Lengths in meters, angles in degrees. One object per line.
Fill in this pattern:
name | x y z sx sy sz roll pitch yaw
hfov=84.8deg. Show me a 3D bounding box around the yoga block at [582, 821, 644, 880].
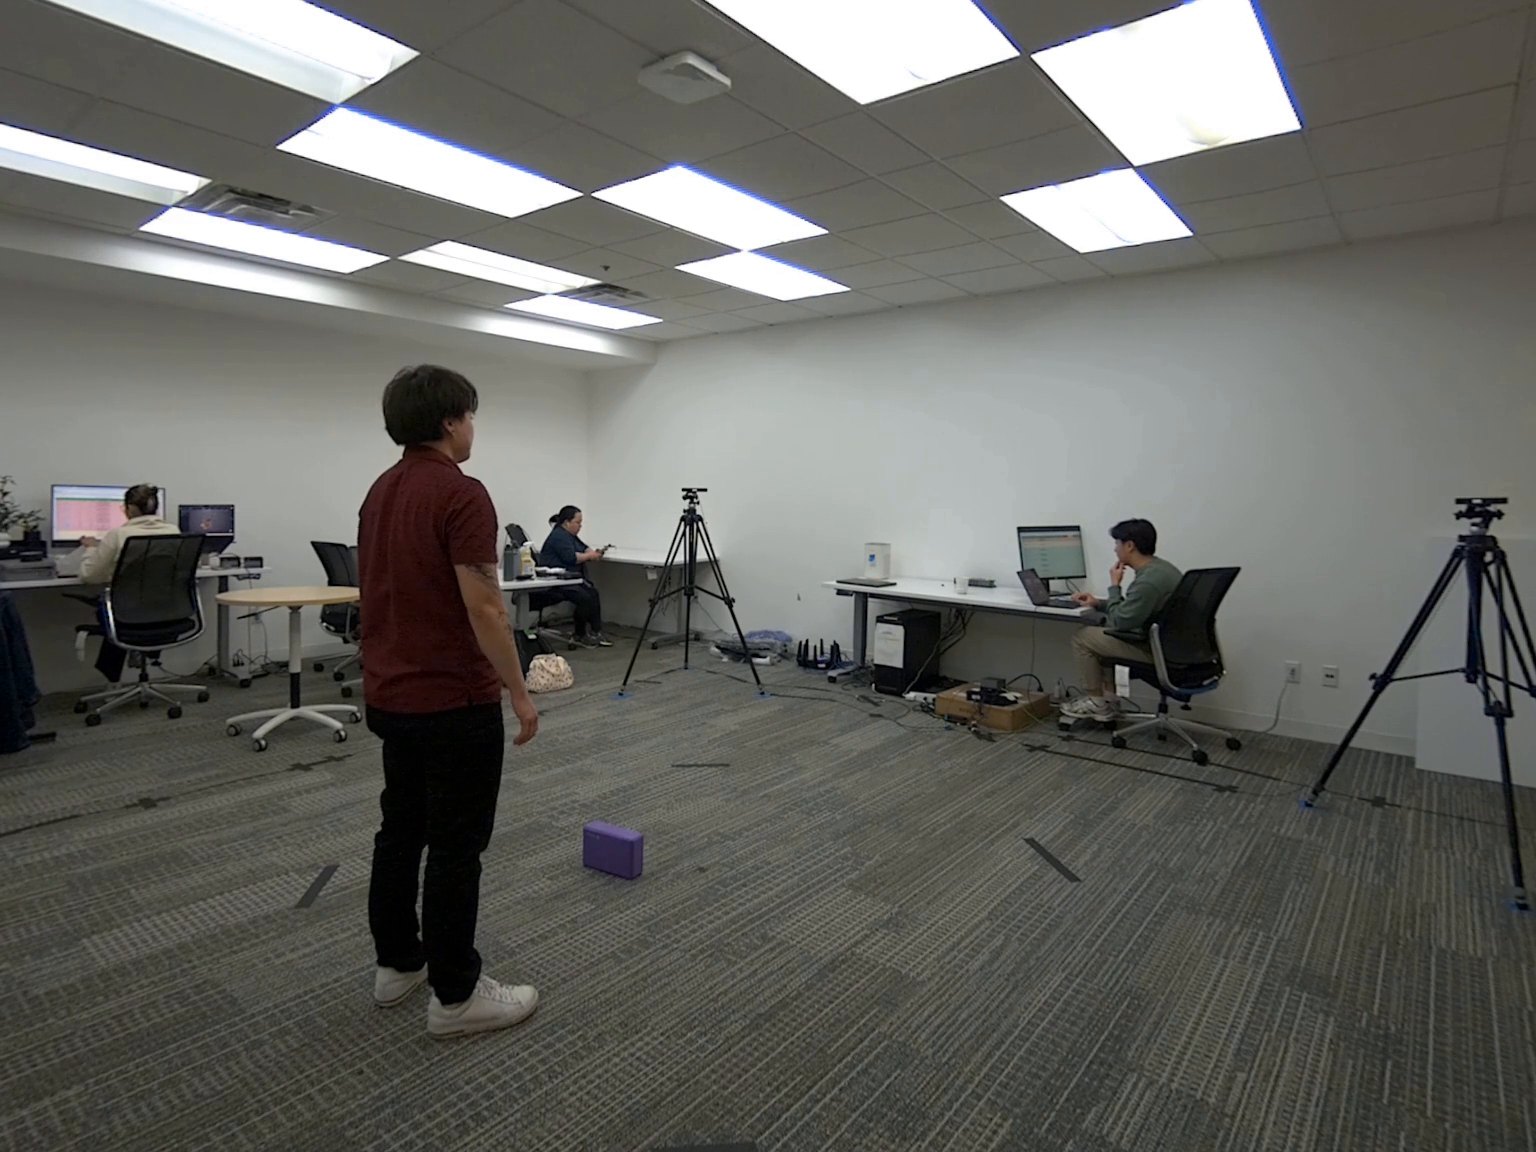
yoga block | -0.576 0.988 3.087 0.236 0.148 0.074 3 3 29
